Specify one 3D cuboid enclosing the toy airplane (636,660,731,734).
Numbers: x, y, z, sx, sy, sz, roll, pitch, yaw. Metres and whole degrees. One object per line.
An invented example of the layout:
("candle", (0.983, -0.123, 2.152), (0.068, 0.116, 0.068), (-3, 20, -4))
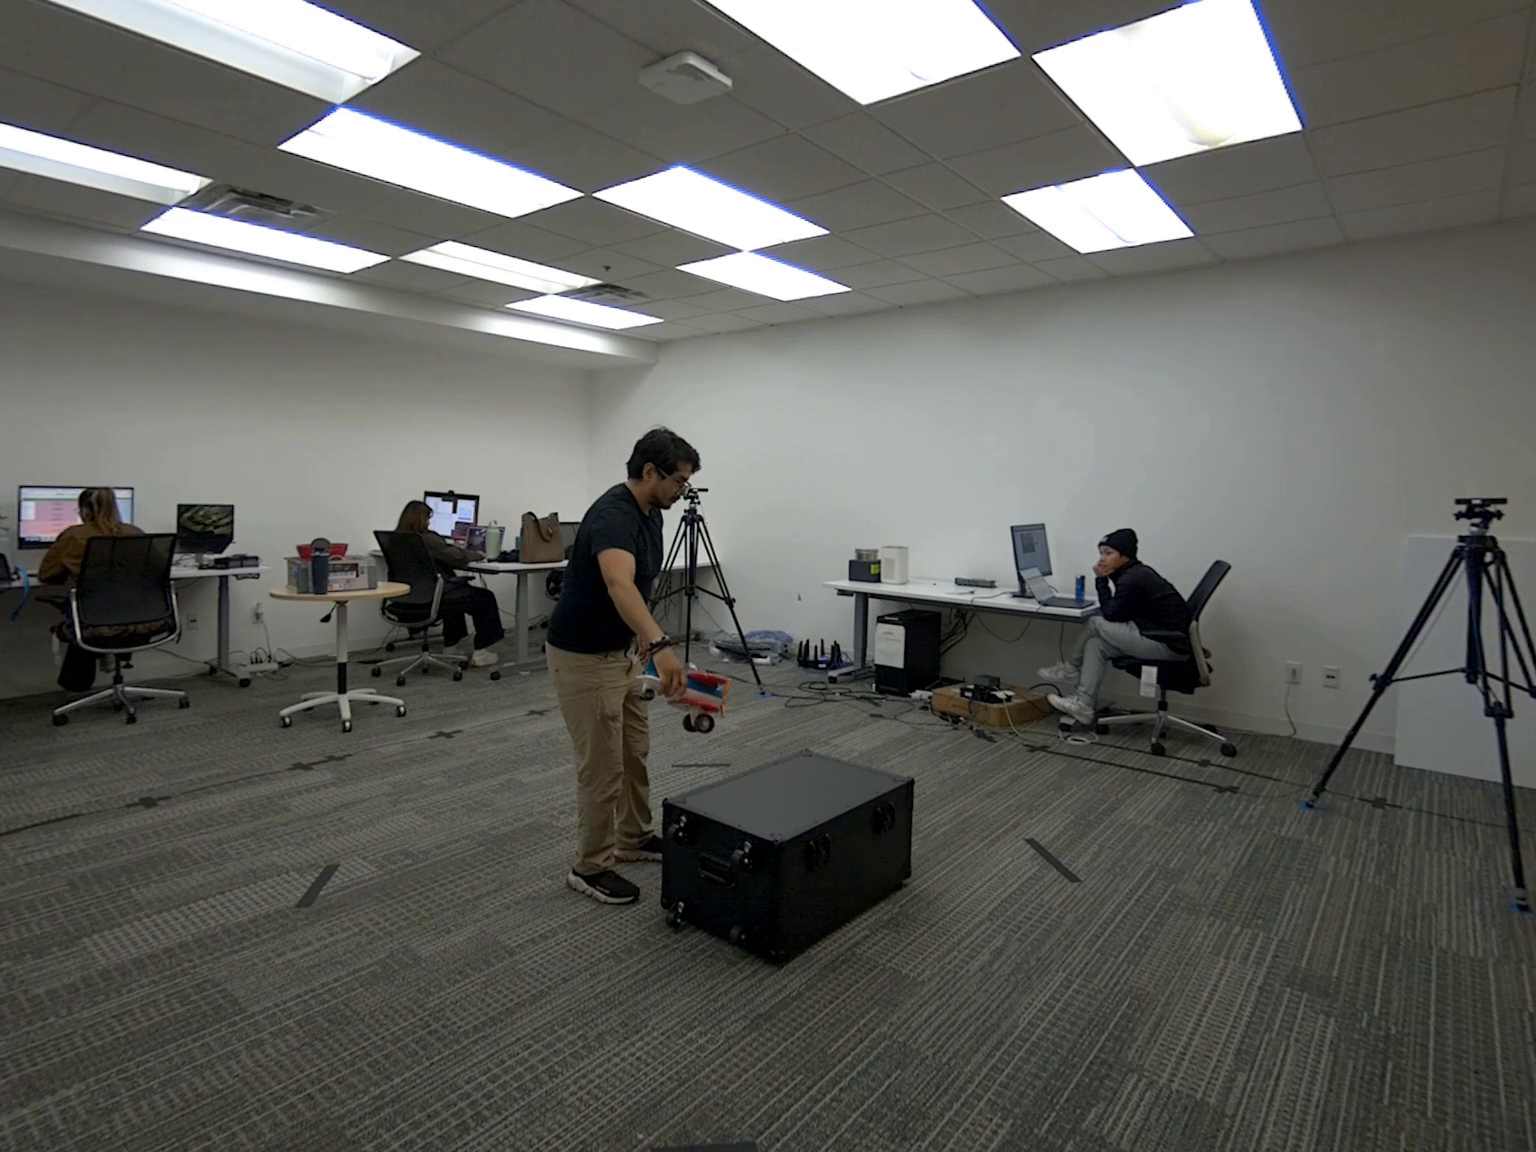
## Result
("toy airplane", (-0.250, 0.327, 2.390), (0.260, 0.157, 0.248), (8, -28, 40))
